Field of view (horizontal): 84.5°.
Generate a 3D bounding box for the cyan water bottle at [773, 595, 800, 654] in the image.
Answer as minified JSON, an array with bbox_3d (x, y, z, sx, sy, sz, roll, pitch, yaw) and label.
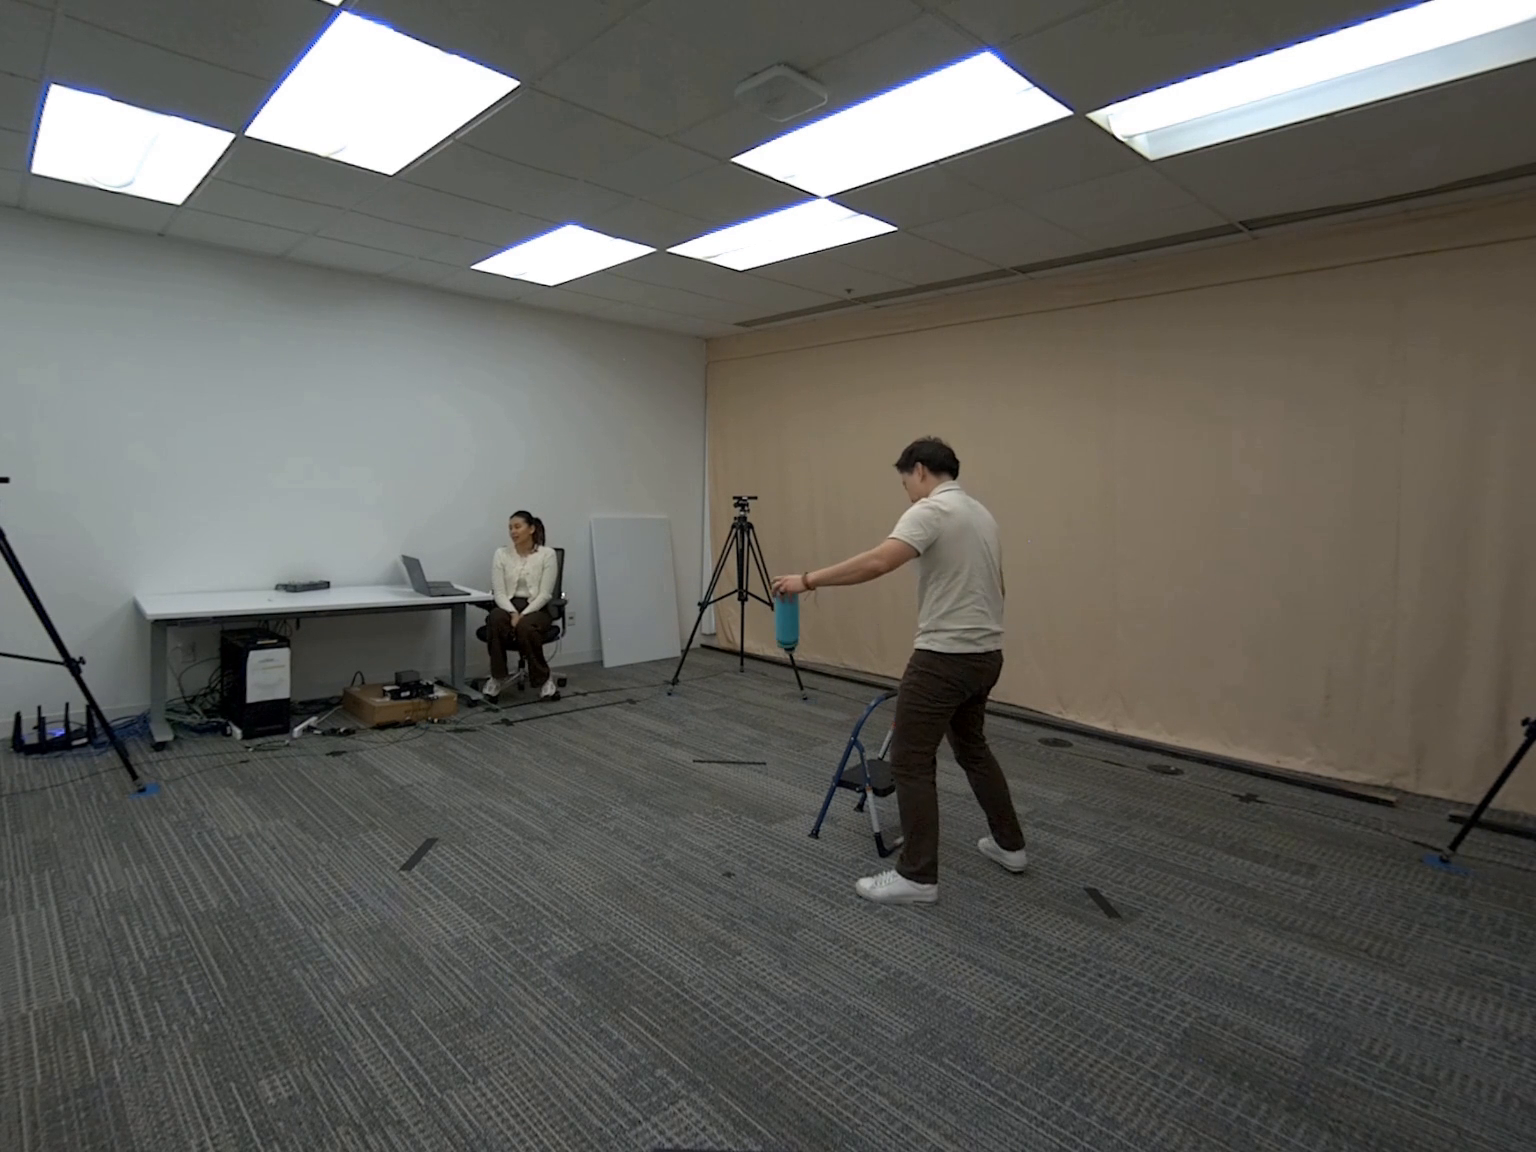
[{"bbox_3d":[0.073,0.138,2.992,0.092,0.278,0.094,-3,28,0],"label":"cyan water bottle"}]
